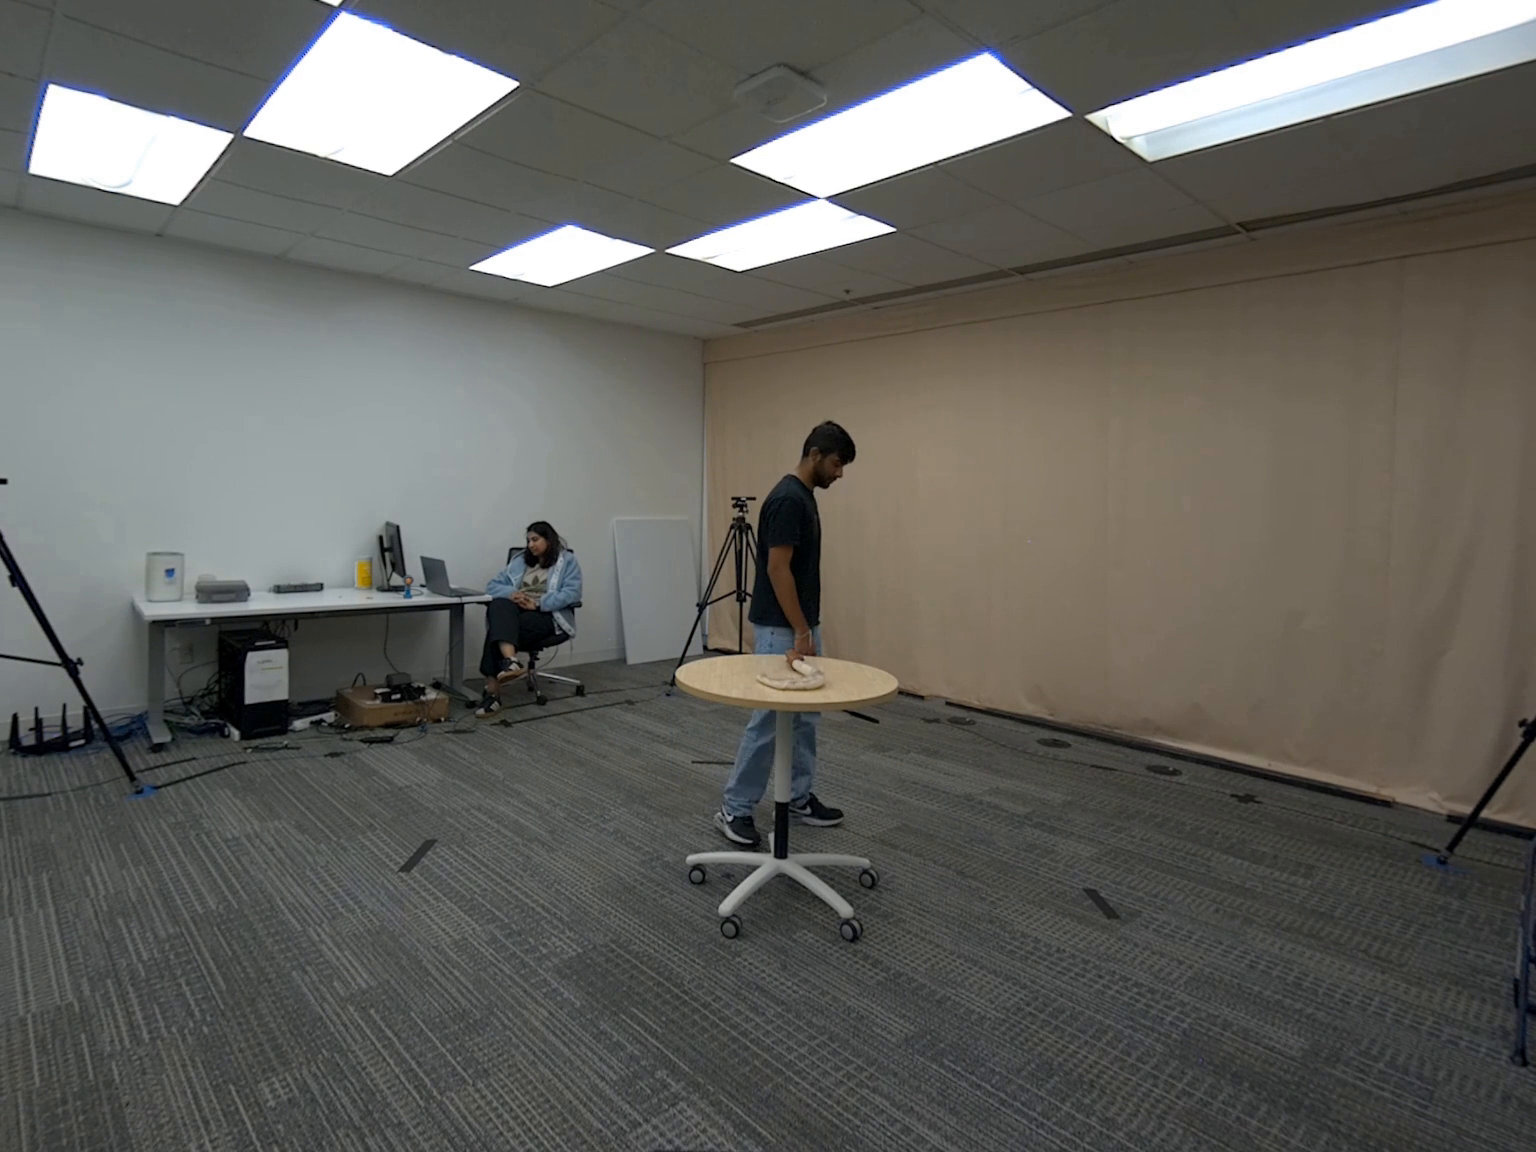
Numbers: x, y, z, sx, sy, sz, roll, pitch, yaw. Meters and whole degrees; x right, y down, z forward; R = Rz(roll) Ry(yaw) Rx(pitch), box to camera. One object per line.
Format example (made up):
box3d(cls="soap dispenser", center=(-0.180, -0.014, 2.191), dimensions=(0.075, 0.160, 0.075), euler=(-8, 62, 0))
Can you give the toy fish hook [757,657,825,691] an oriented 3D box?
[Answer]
box3d(cls="toy fish hook", center=(0.051, 0.324, 2.927), dimensions=(0.224, 0.048, 0.510), euler=(3, 6, -6))
